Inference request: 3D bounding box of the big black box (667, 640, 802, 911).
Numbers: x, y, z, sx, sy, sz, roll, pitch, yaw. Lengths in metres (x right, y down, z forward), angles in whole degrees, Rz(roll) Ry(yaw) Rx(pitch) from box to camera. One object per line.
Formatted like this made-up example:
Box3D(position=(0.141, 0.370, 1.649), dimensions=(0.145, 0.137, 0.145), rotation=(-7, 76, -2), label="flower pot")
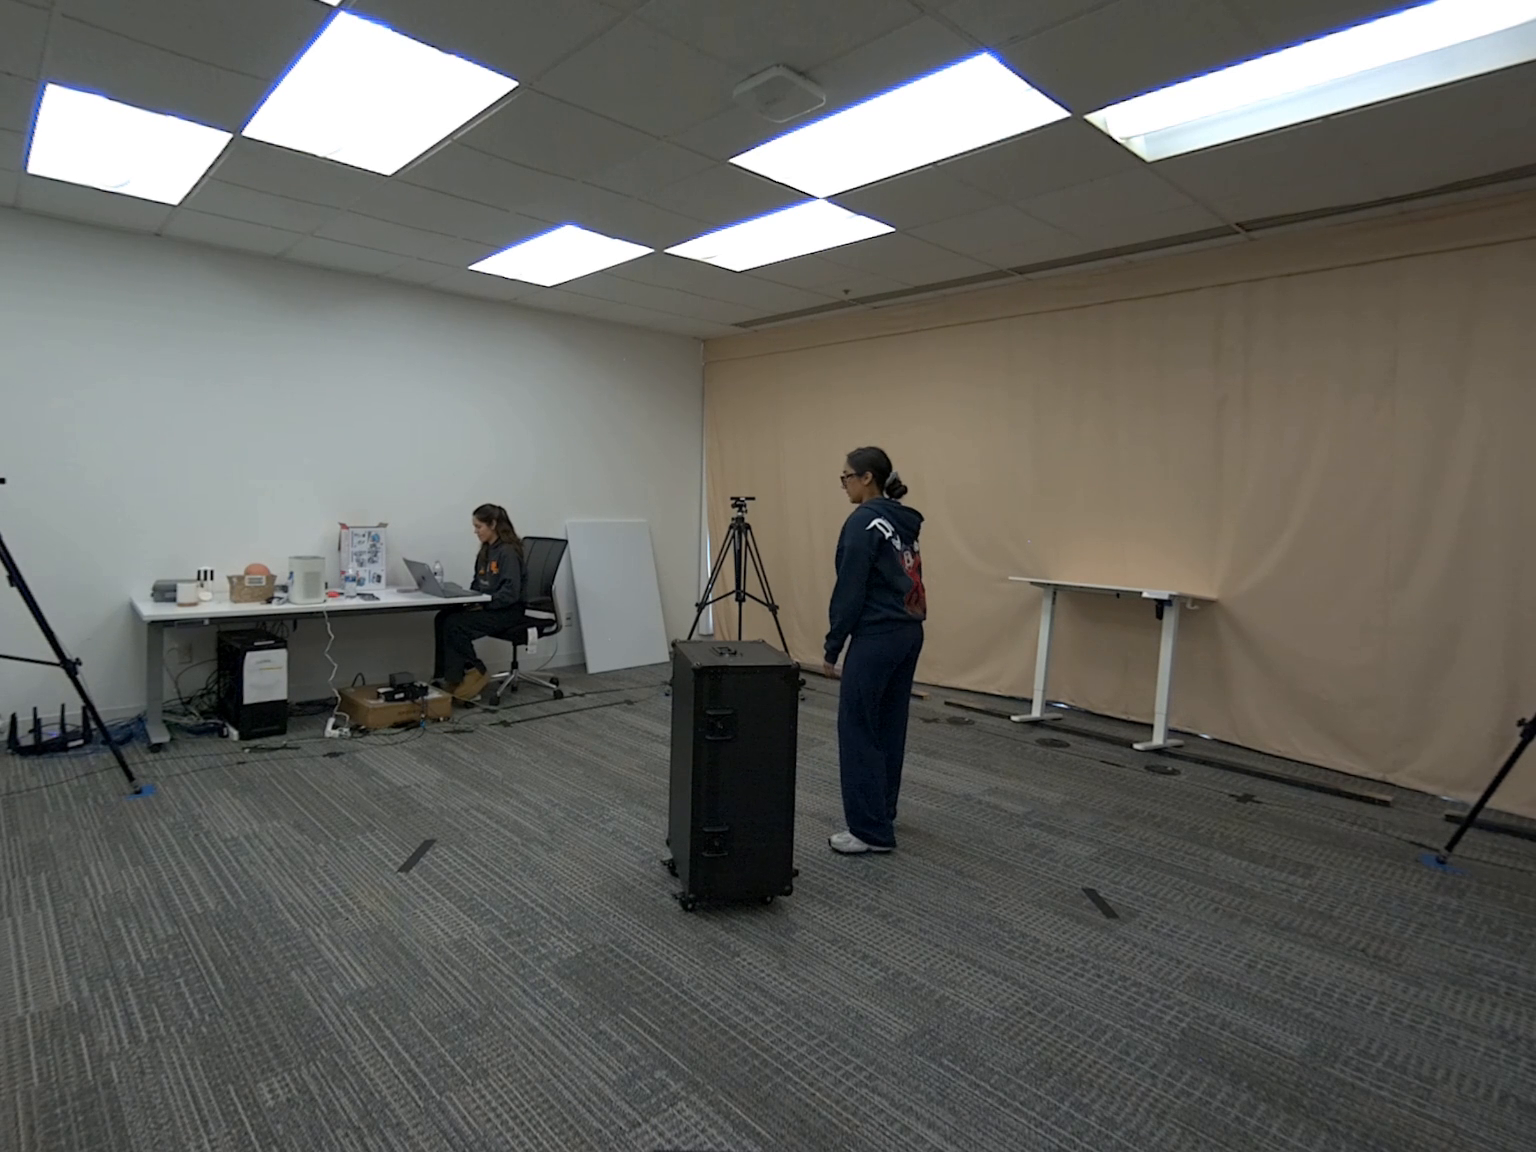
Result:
Box3D(position=(-0.134, 0.694, 2.995), dimensions=(0.392, 0.860, 0.528), rotation=(2, 3, -14), label="big black box")
